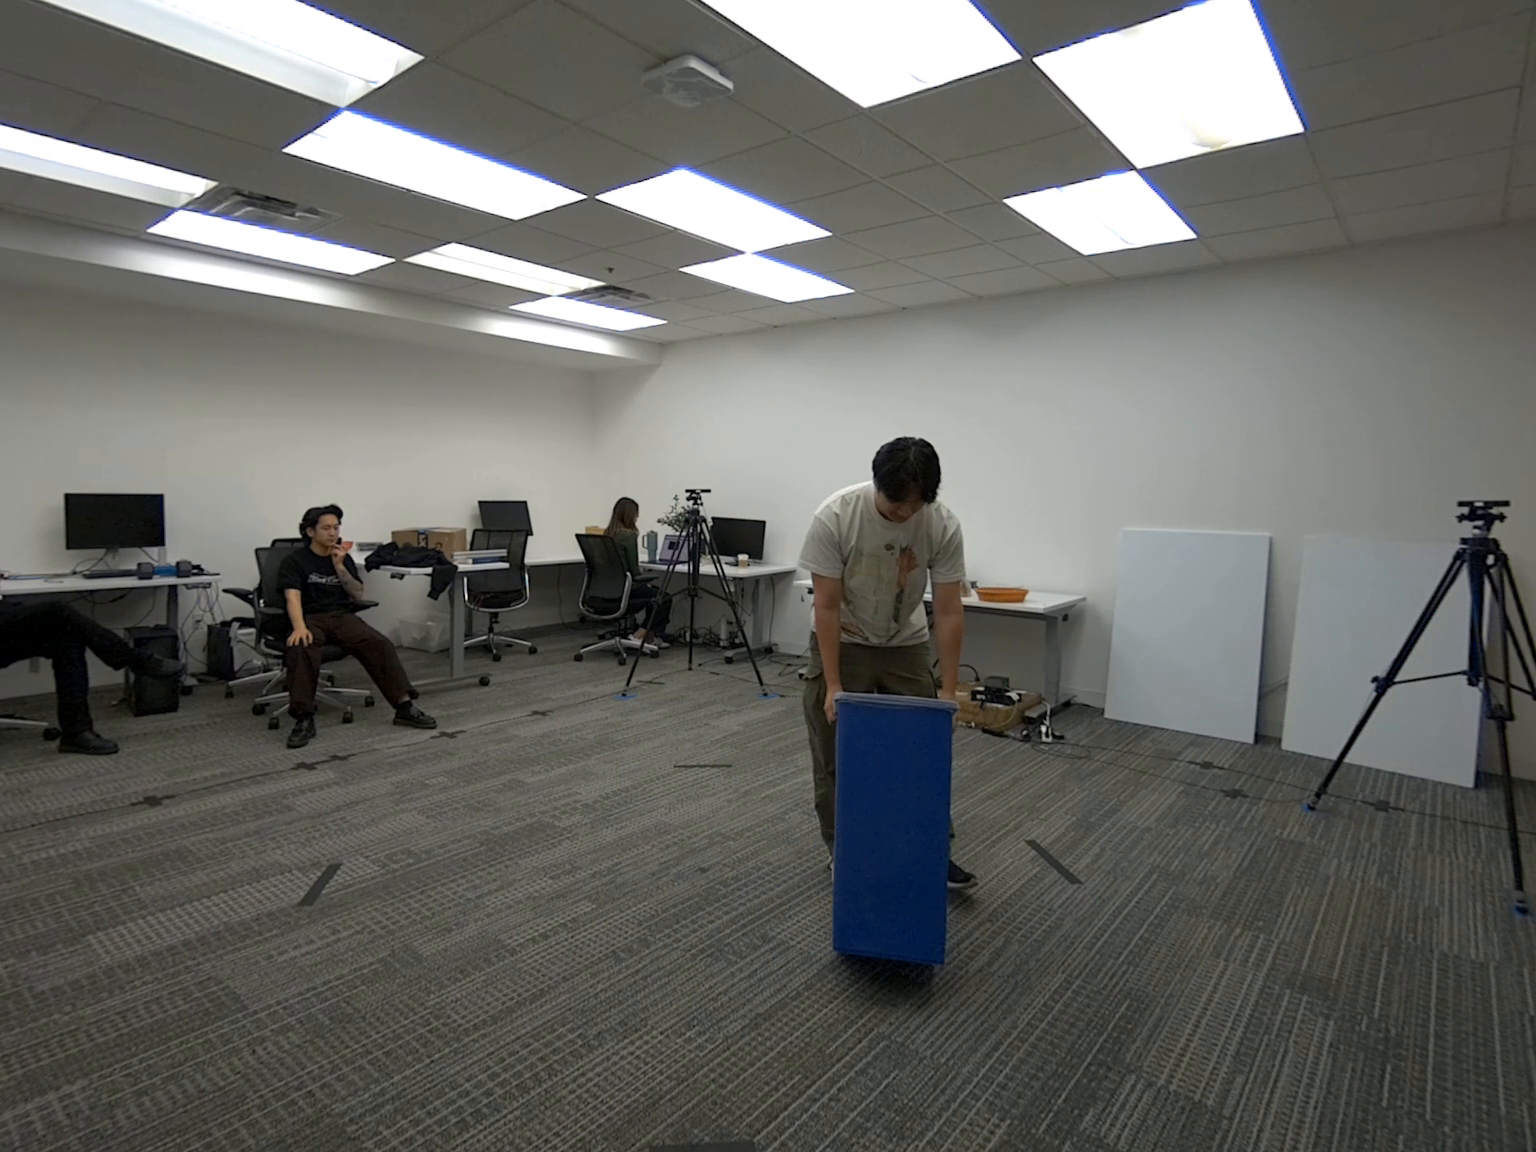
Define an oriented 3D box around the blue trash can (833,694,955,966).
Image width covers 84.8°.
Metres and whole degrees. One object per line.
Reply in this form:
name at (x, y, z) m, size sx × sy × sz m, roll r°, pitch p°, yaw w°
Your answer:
blue trash can at (0.364, 0.752, 2.574) m, size 0.381 × 0.726 × 0.365 m, roll 2°, pitch -21°, yaw 6°
